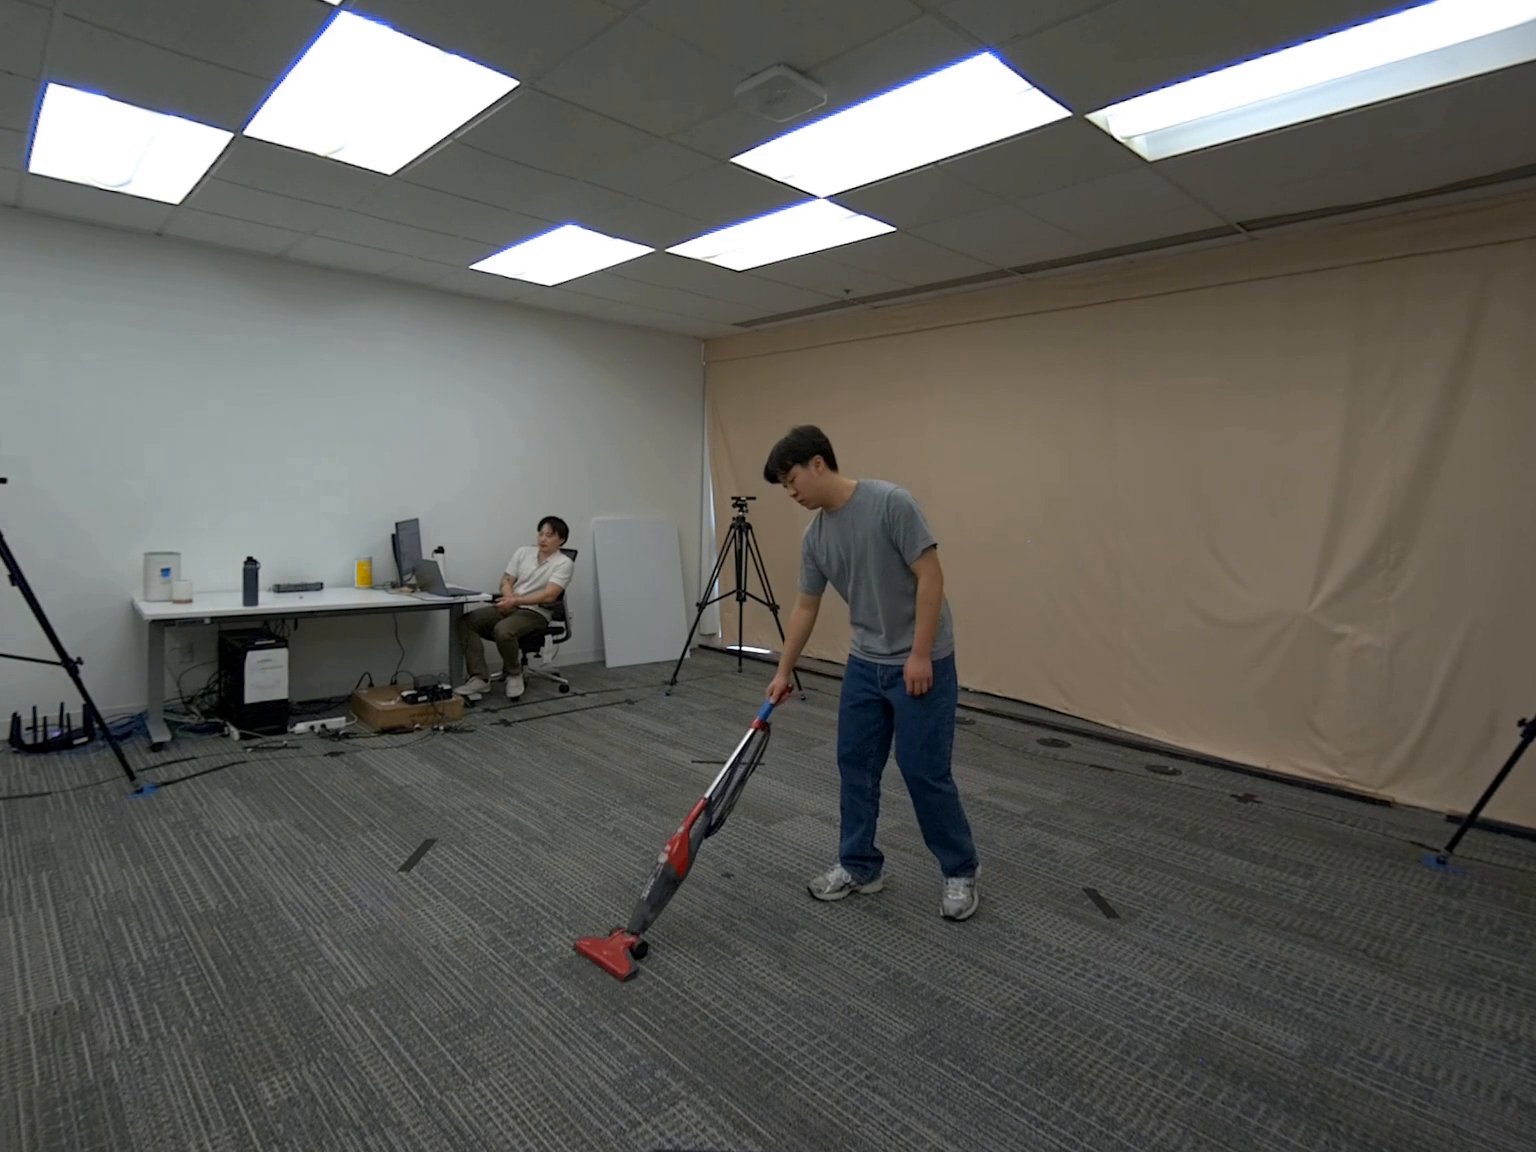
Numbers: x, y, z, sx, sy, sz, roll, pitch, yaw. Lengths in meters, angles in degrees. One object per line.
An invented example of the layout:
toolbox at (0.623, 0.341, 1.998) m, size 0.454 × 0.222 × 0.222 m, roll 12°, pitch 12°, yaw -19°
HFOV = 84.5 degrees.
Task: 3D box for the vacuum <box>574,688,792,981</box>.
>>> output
vacuum at (-0.194, 0.786, 2.787) m, size 0.259 × 0.140 × 1.051 m, roll 9°, pitch 49°, yaw 40°
